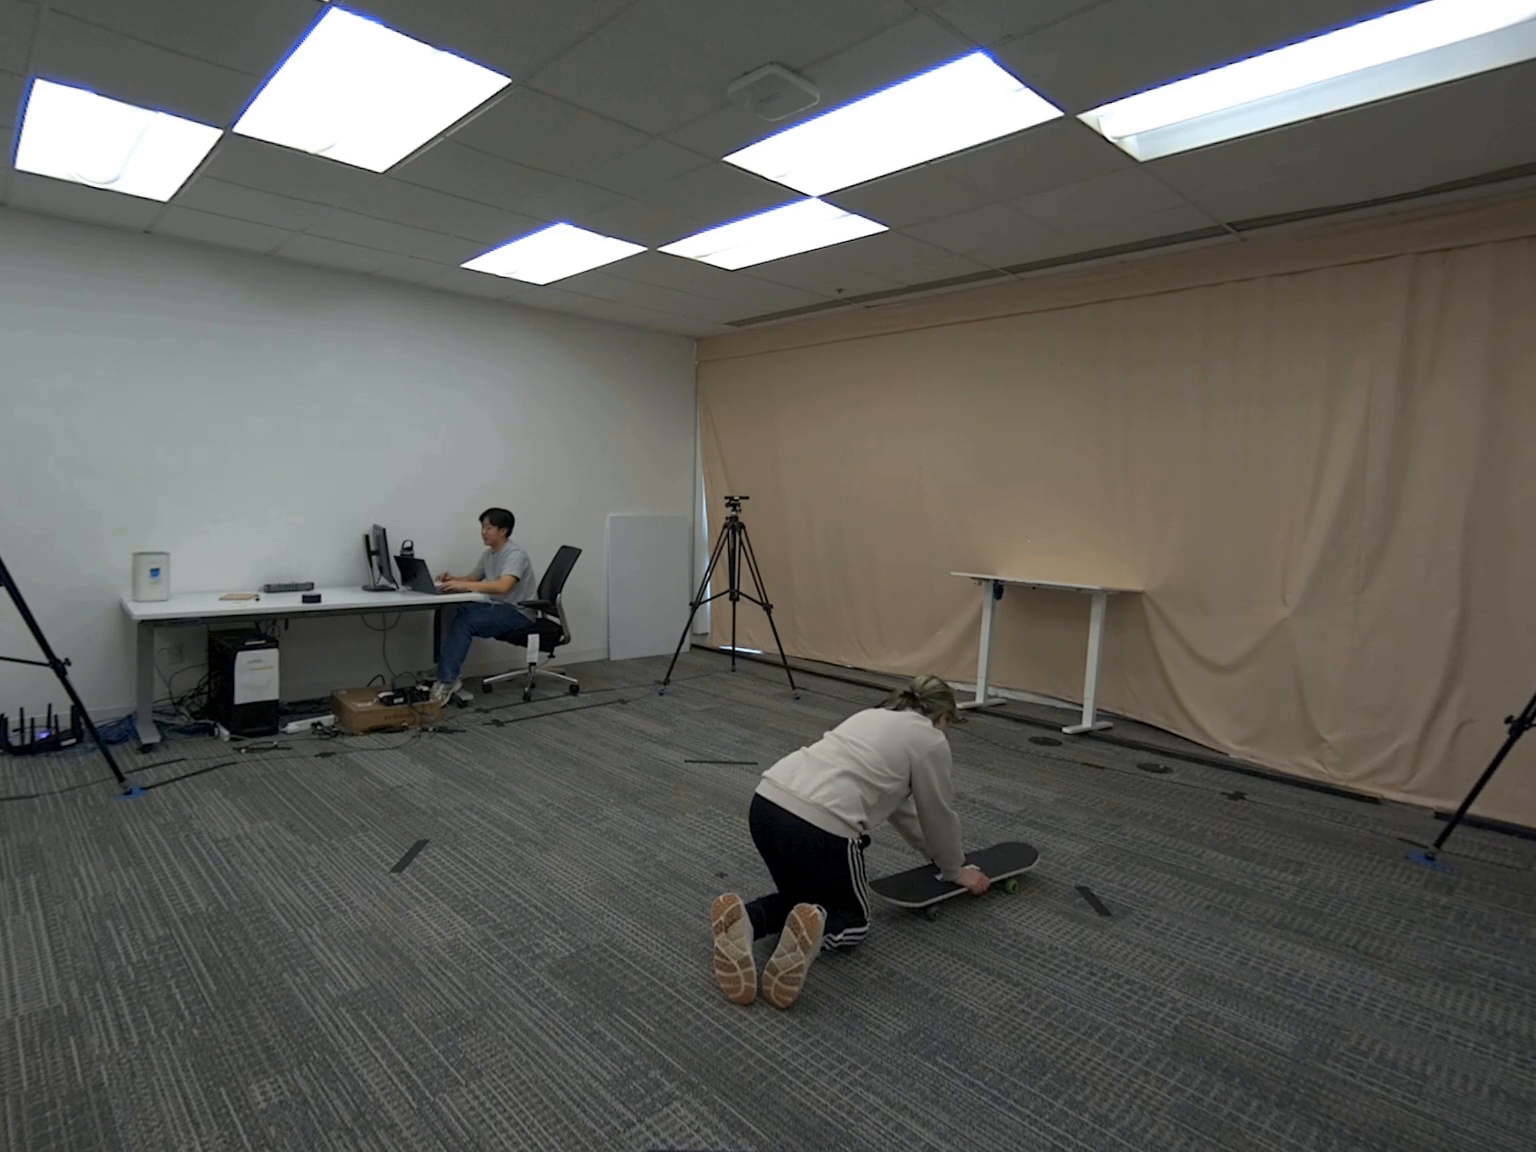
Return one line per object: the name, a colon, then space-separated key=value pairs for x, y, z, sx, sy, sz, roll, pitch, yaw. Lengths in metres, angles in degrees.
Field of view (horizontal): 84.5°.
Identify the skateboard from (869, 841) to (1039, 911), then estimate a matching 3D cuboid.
skateboard: x=0.663 y=1.080 z=2.976 sx=0.769 sy=0.110 sz=0.198 roll=-2 pitch=7 yaw=-33
